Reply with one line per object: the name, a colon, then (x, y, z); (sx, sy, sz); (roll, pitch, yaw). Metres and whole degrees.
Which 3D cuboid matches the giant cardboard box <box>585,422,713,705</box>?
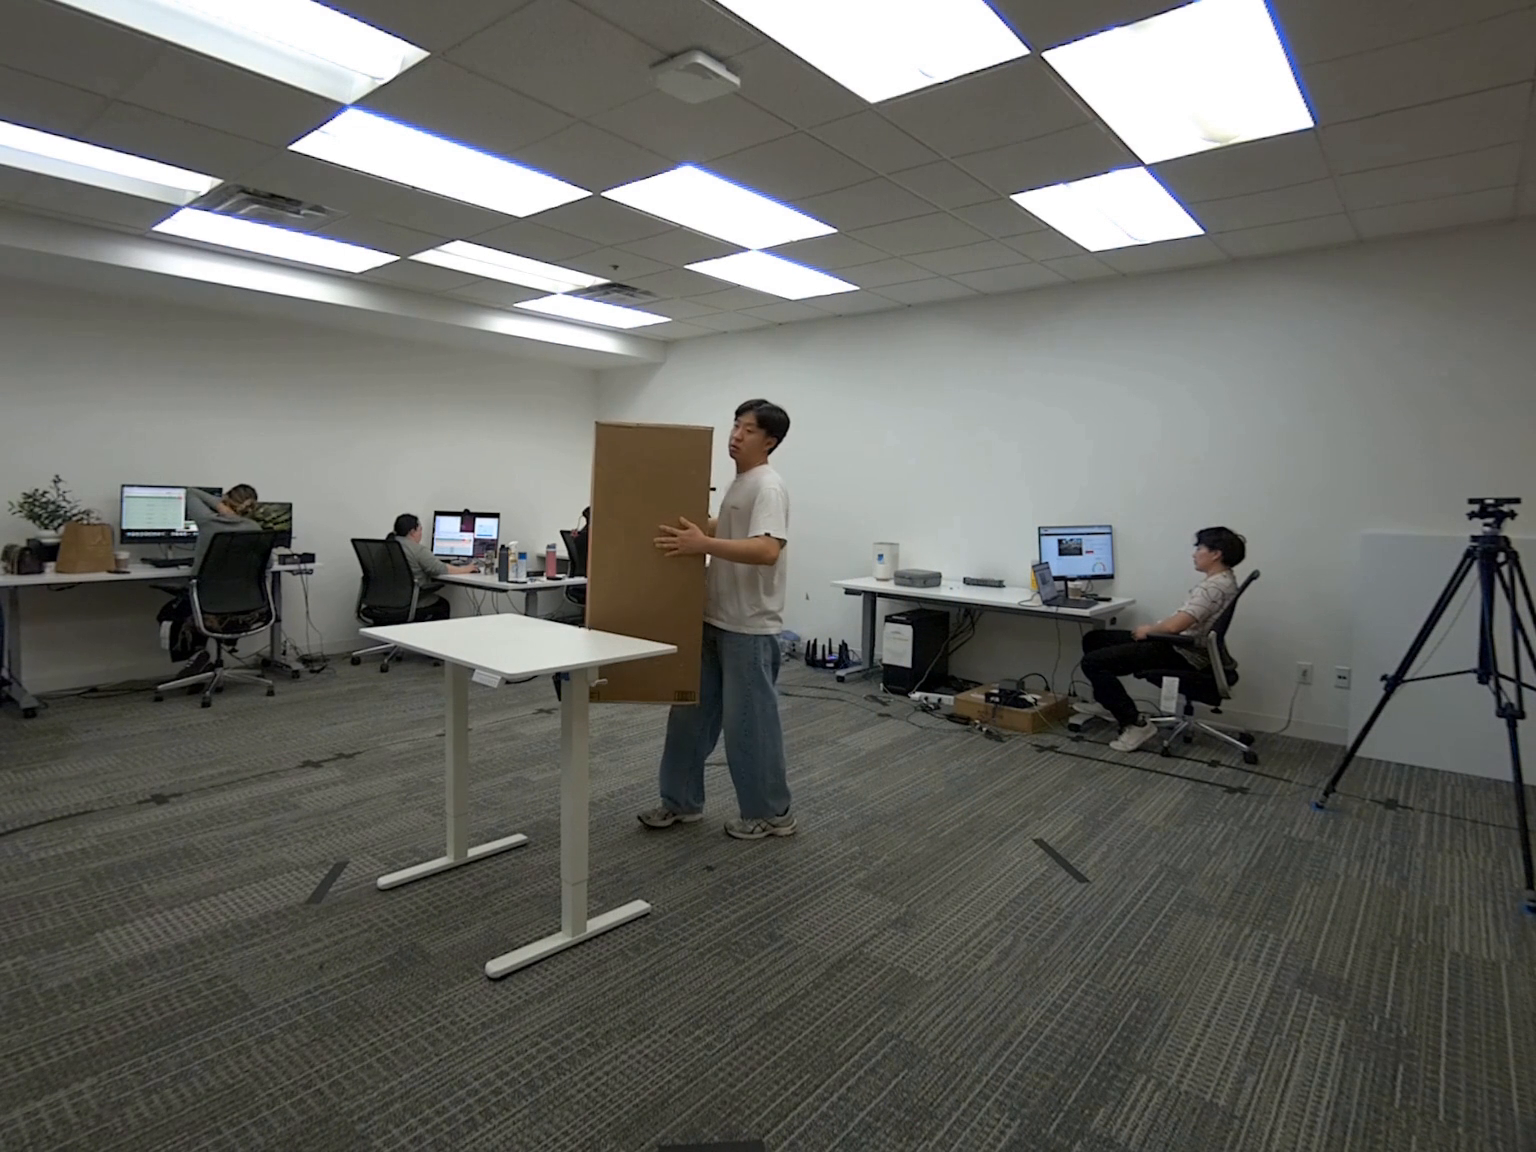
giant cardboard box: (-0.489, -0.084, 3.345); (0.423, 1.020, 0.585); (3, 7, -8)
